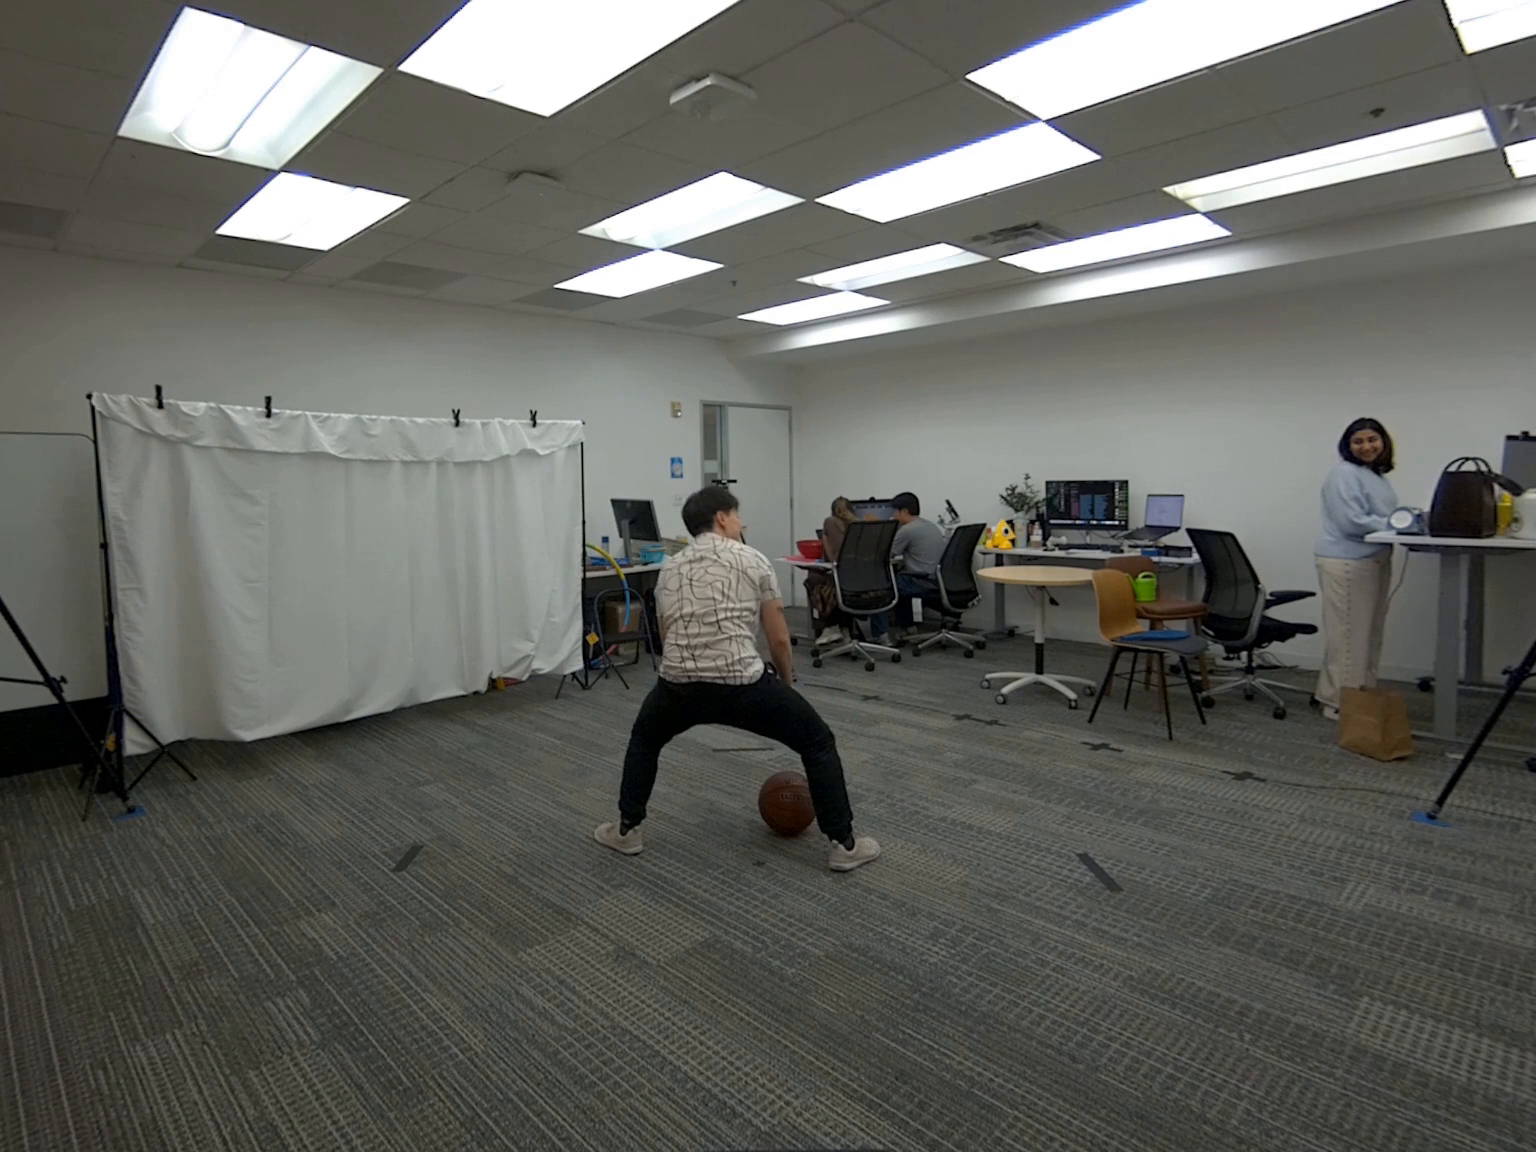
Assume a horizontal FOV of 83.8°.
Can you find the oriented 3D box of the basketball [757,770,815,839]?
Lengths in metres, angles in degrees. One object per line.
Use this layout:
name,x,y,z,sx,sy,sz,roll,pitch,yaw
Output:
basketball,0.077,0.888,3.384,0.236,0.235,0.237,-1,5,-2
